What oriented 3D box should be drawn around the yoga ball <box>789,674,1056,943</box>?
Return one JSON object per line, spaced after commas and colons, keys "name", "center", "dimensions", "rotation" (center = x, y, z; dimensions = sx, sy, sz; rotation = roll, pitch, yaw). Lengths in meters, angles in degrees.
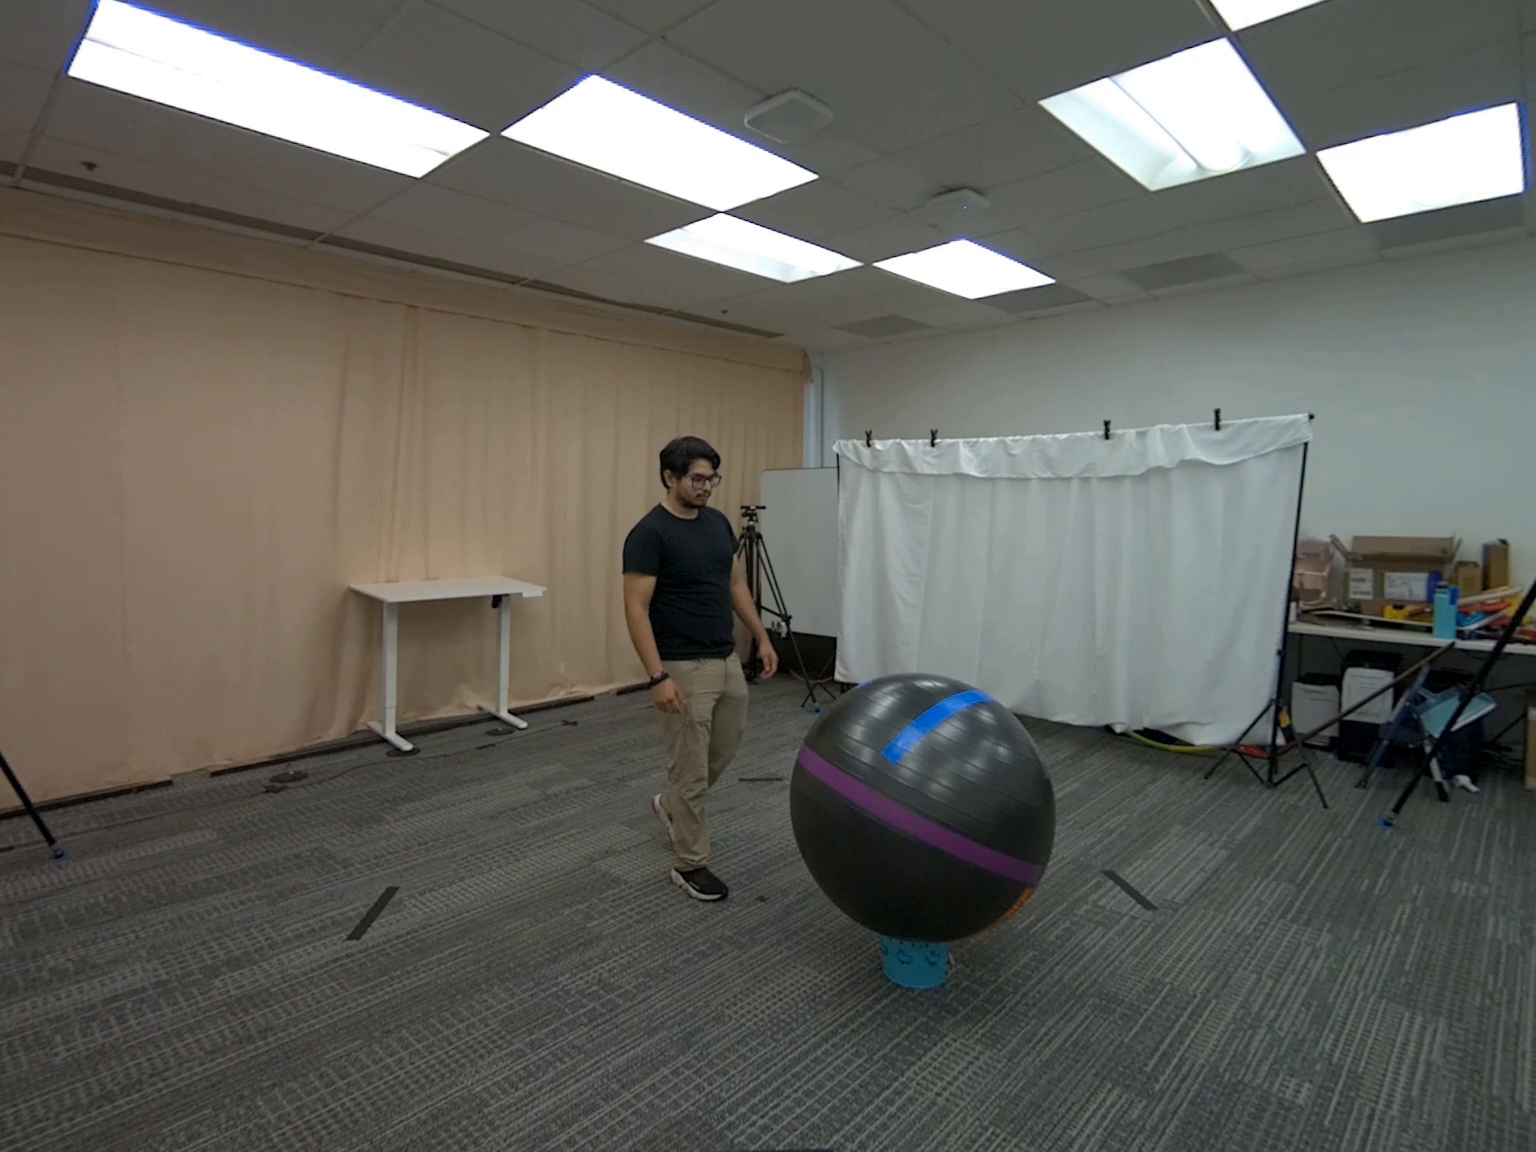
{"name": "yoga ball", "center": [0.458, 0.677, 2.494], "dimensions": [0.757, 0.756, 0.761], "rotation": [0, 4, -2]}
